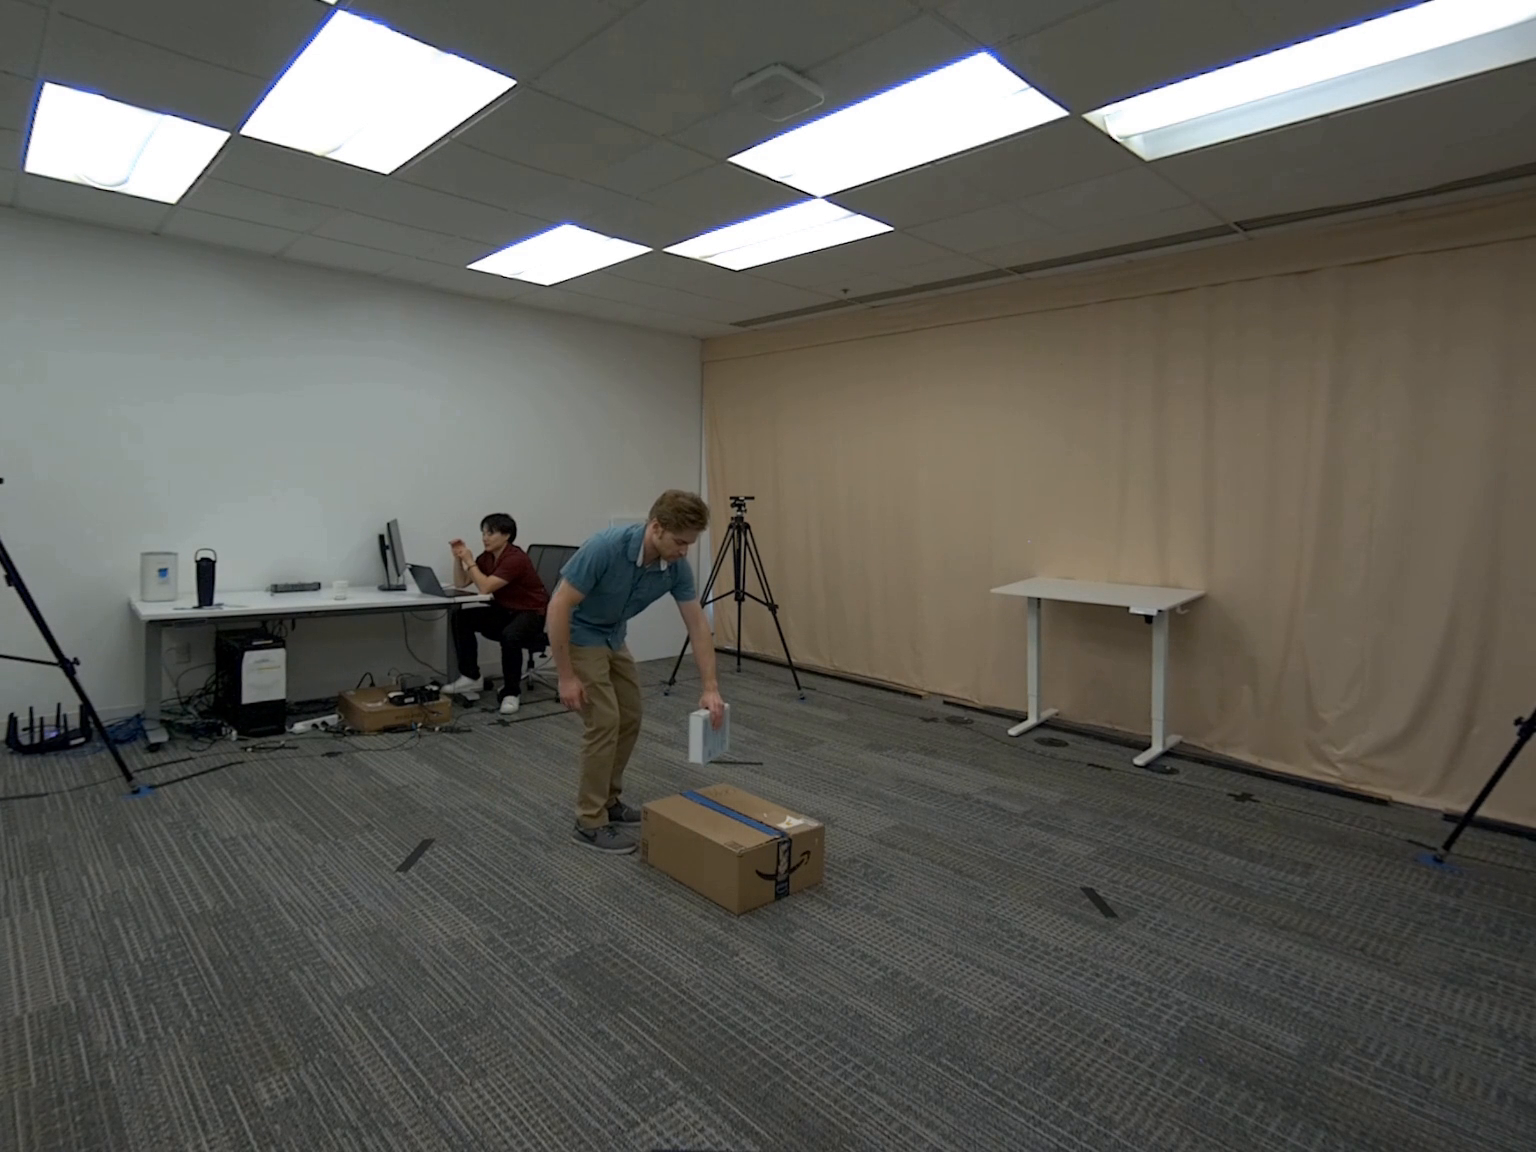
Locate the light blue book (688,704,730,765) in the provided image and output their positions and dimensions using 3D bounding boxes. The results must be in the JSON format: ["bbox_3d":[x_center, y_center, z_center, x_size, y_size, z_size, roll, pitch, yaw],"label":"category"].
[{"bbox_3d":[-0.247,0.610,3.267,0.060,0.191,0.257,-3,-1,16],"label":"light blue book"}]
